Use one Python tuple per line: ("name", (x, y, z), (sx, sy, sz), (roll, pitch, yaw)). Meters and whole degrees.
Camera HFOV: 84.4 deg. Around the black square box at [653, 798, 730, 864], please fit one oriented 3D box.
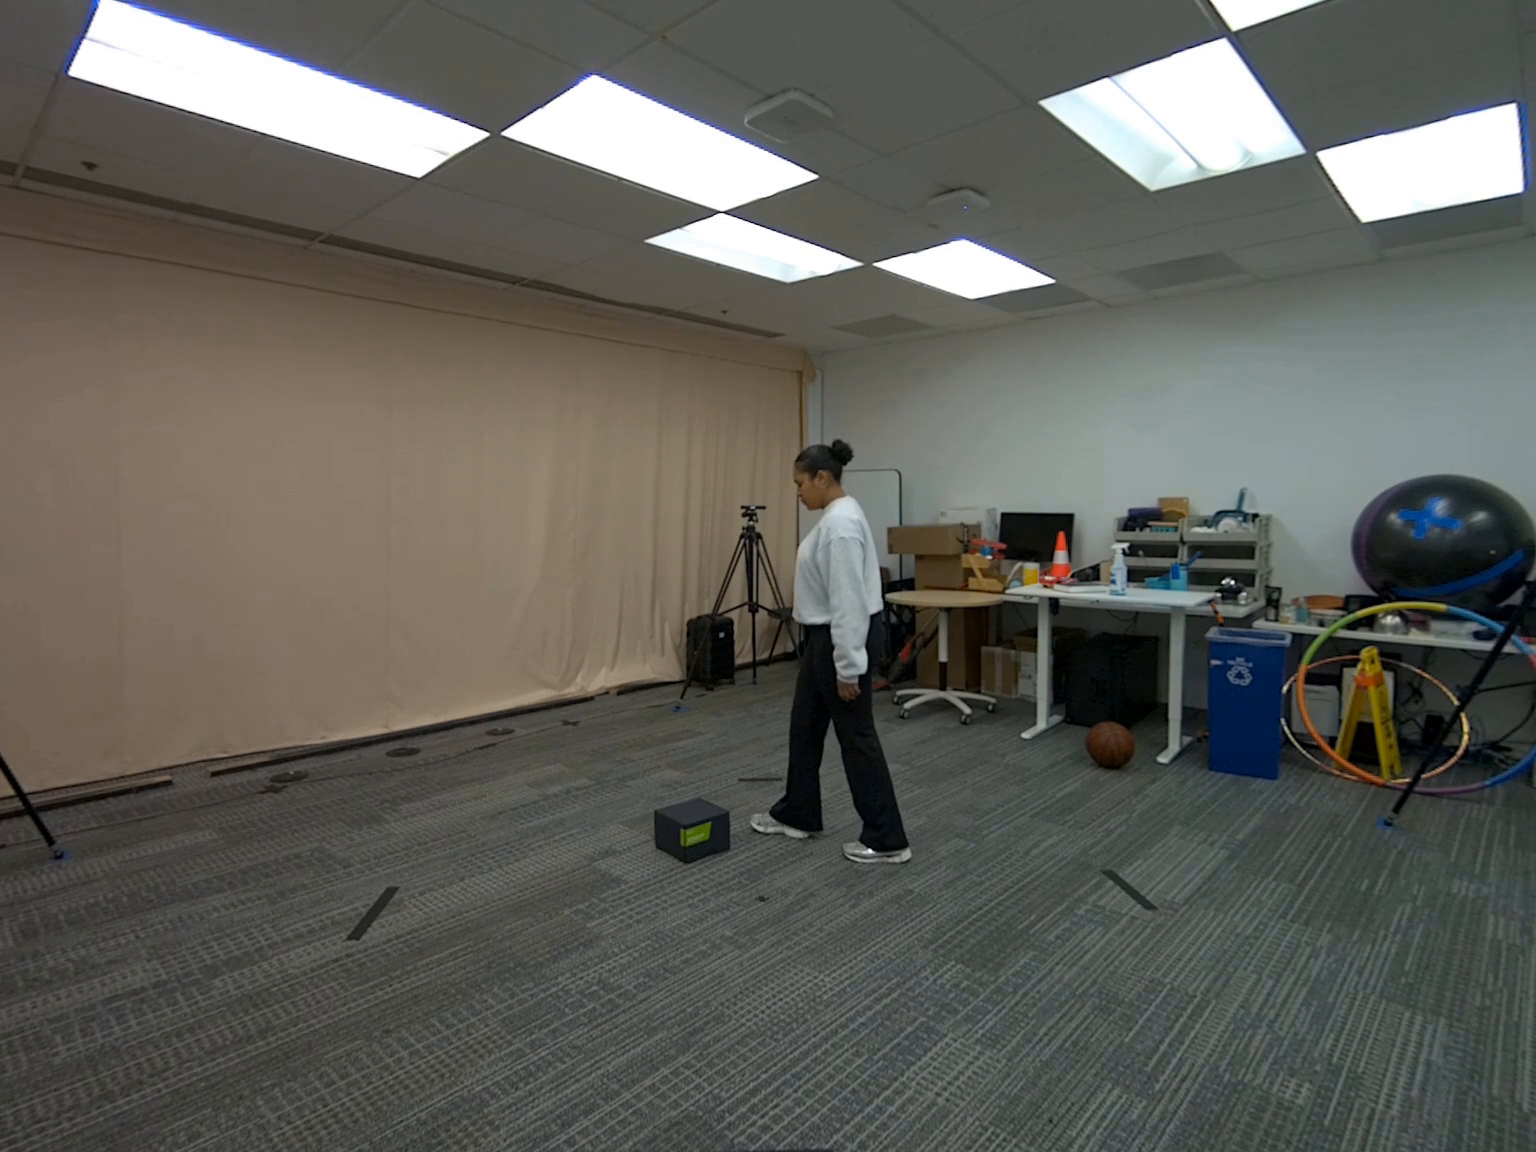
("black square box", (-0.308, 1.026, 3.425), (0.221, 0.155, 0.224), (-4, 5, -39))
